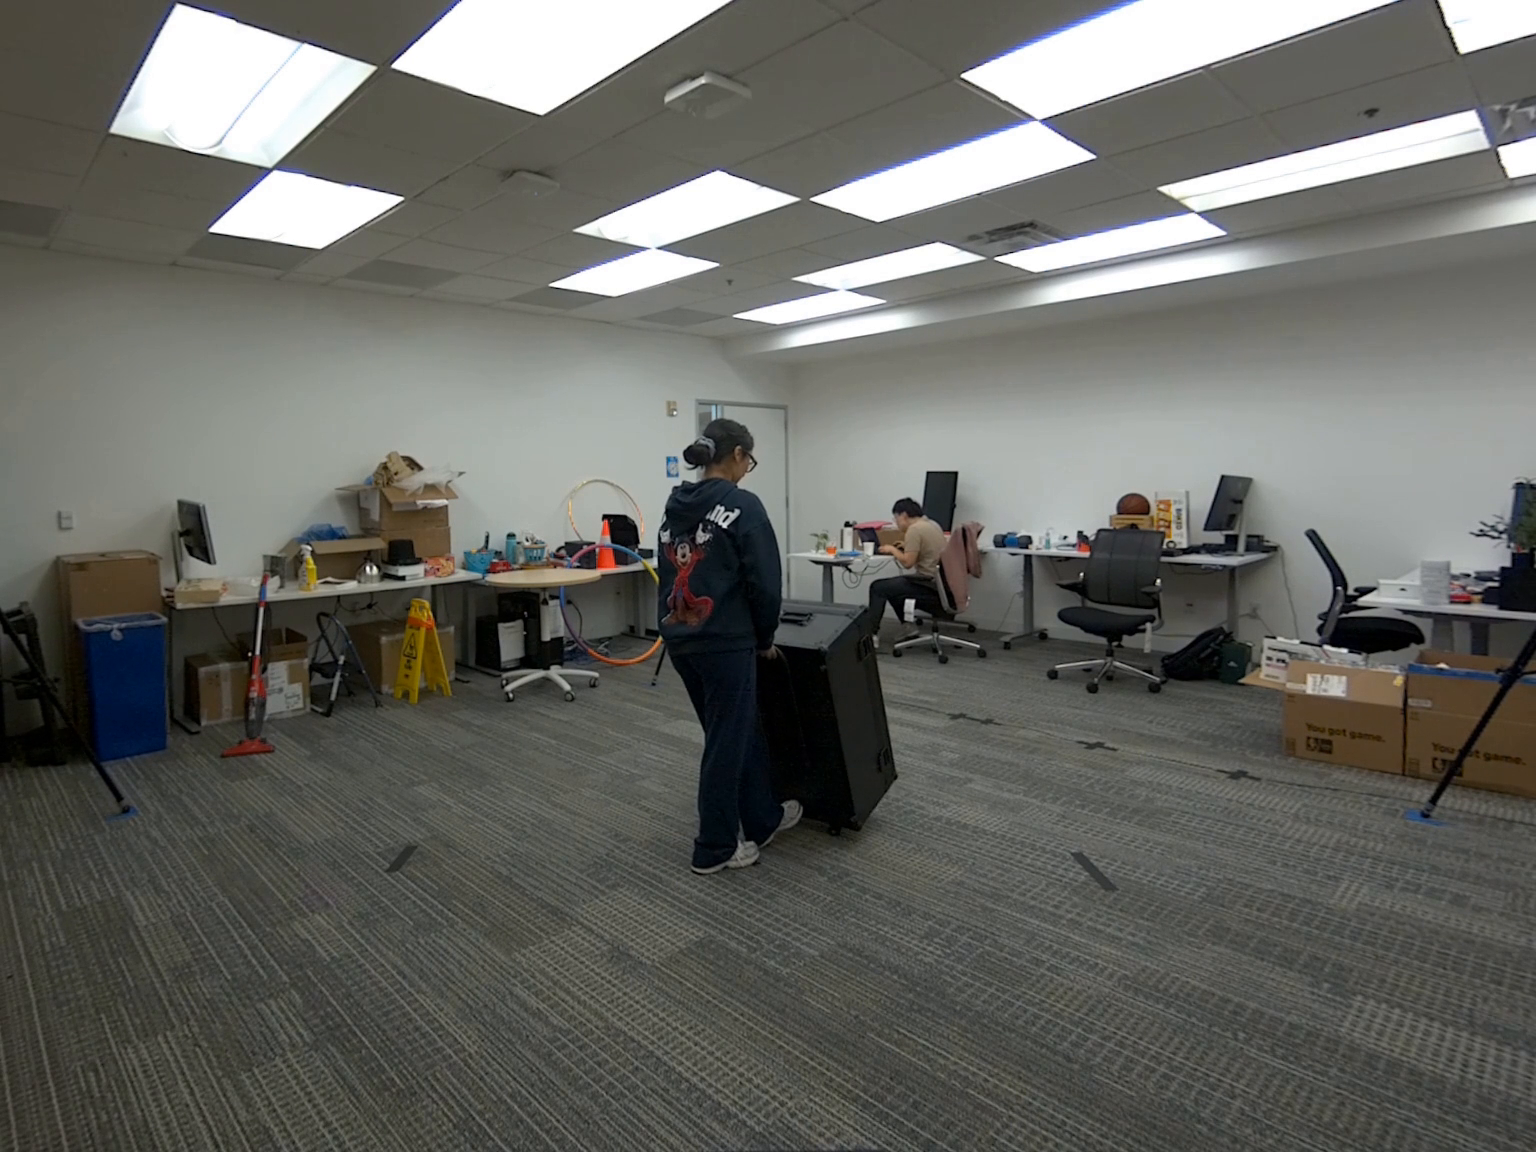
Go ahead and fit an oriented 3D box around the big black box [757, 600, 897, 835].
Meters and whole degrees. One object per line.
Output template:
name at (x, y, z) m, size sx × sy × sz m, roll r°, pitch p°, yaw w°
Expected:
big black box at (0.175, 0.564, 3.390) m, size 0.408 × 0.845 × 0.516 m, roll 4°, pitch 23°, yaw 36°
